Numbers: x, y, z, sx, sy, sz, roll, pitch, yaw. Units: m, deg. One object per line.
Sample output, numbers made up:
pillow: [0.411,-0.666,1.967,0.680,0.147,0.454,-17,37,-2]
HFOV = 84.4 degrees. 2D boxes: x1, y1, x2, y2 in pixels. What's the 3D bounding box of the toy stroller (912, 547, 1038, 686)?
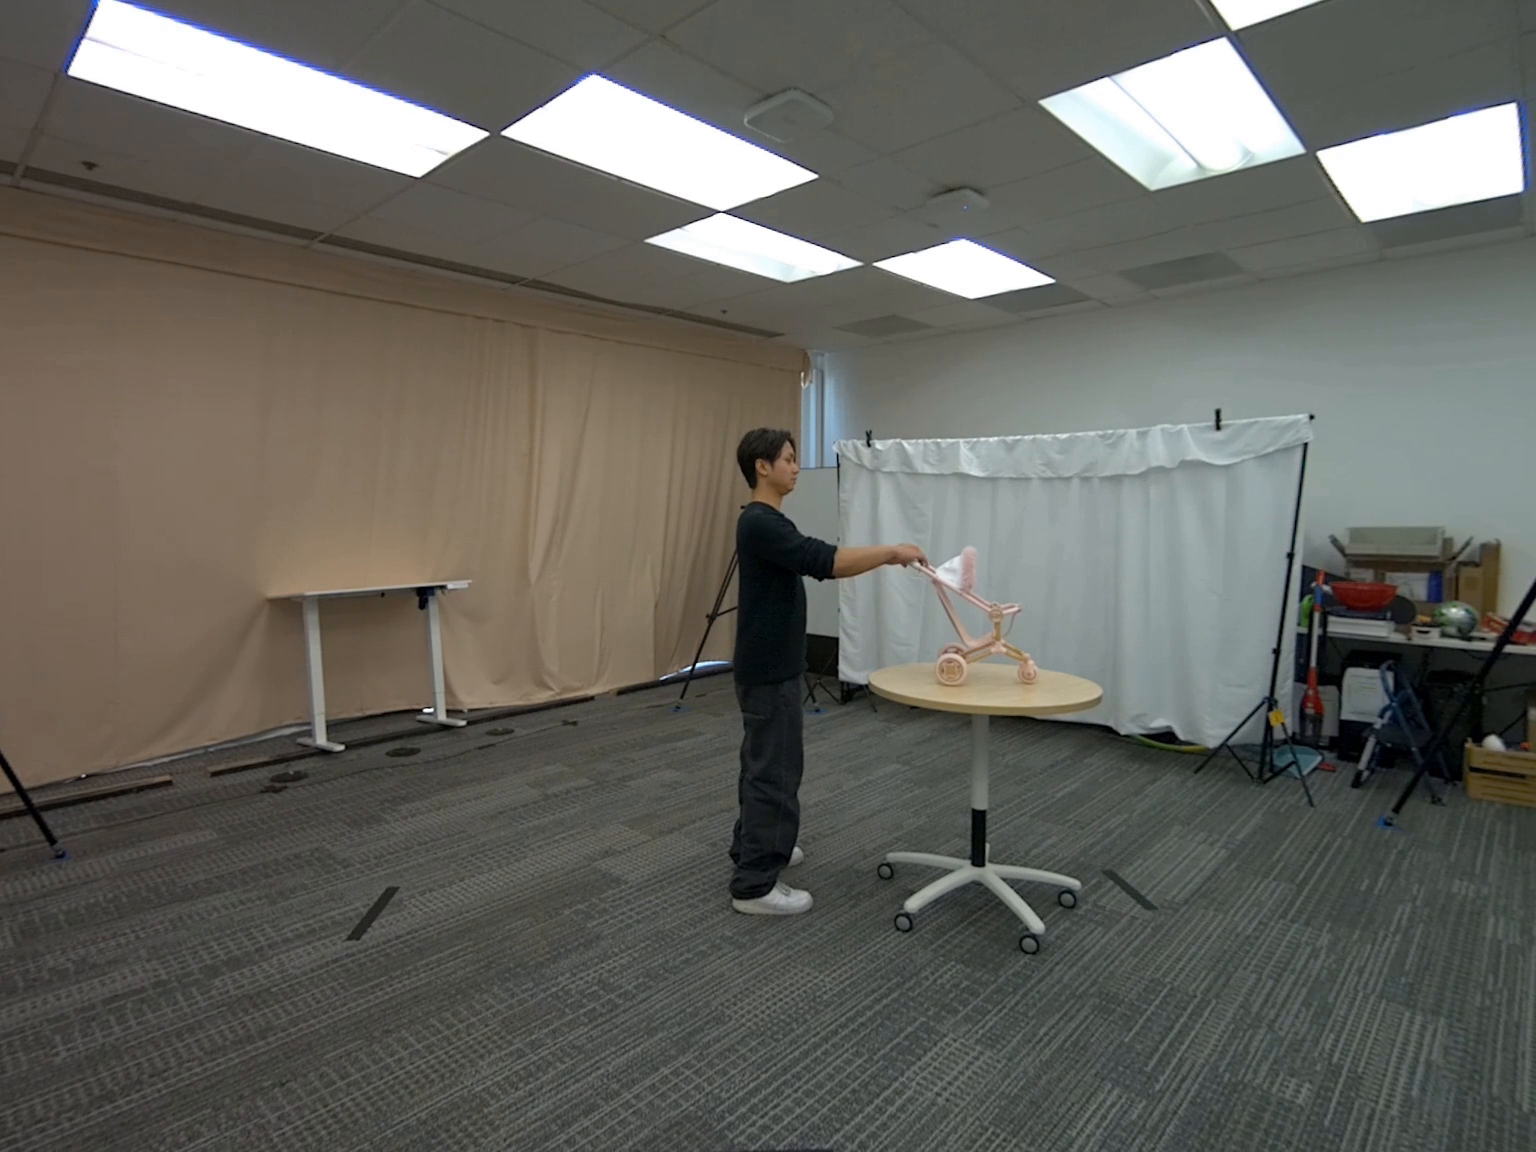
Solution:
toy stroller: [0.718,0.144,2.915,0.347,0.536,0.276,-14,-2,21]
